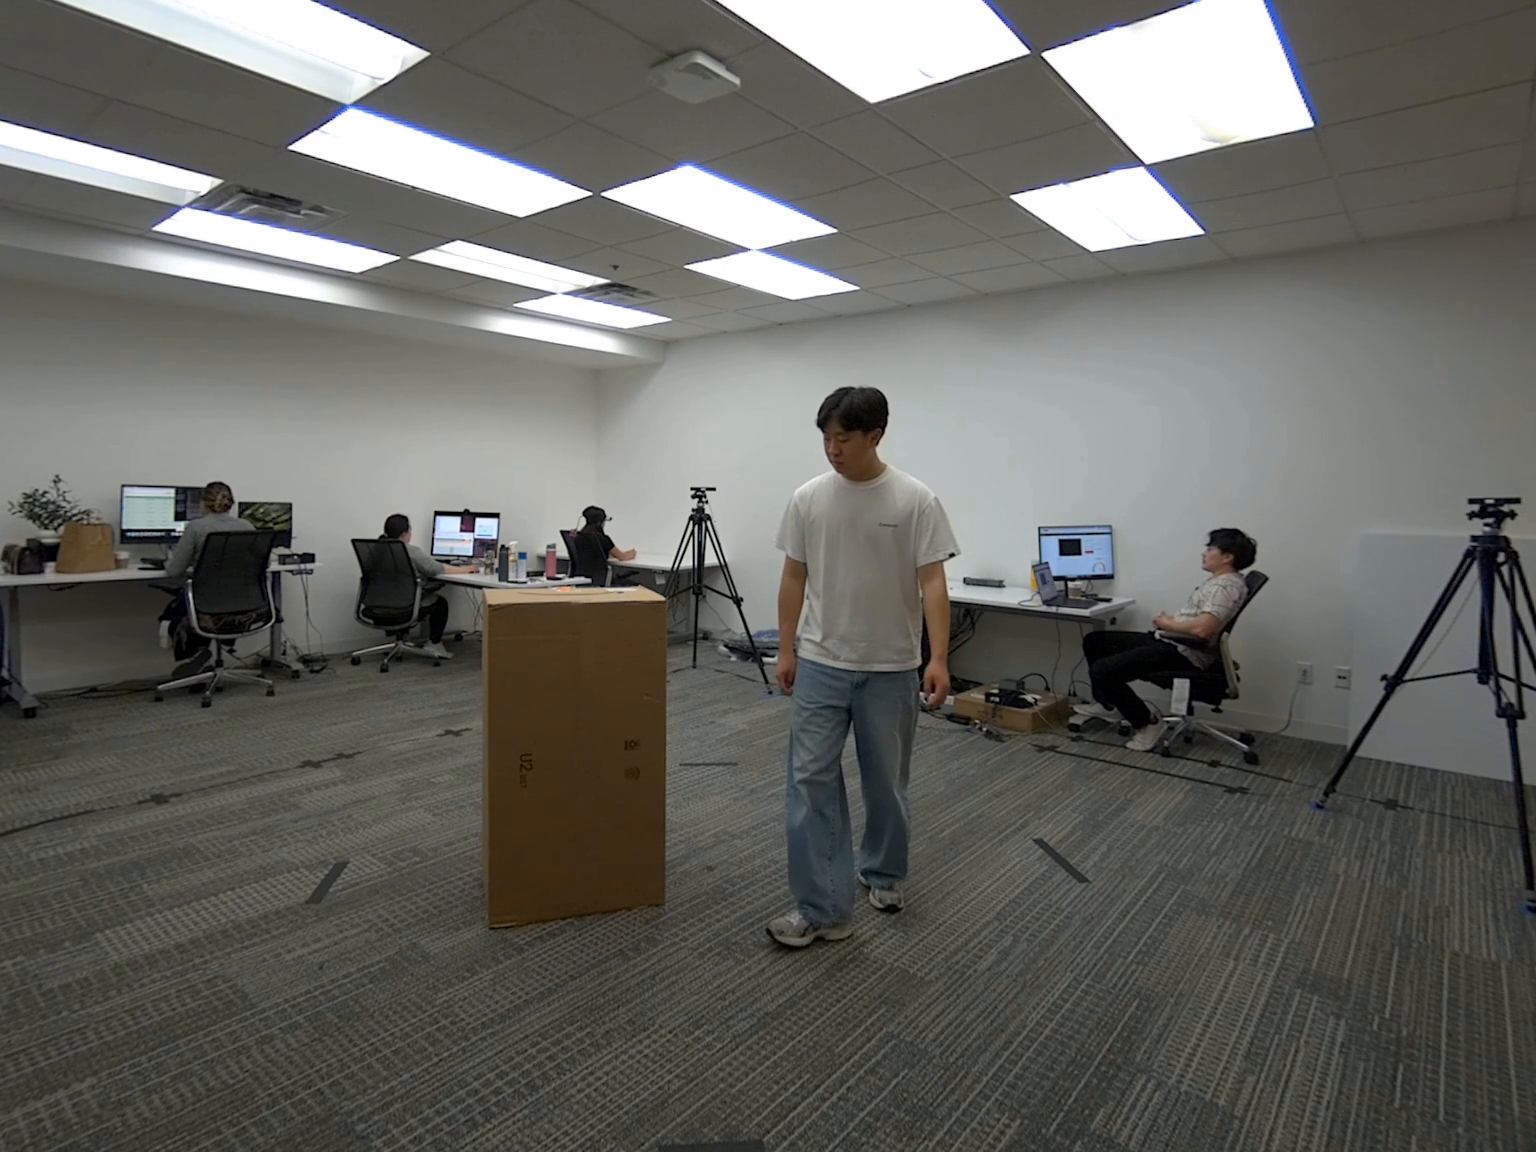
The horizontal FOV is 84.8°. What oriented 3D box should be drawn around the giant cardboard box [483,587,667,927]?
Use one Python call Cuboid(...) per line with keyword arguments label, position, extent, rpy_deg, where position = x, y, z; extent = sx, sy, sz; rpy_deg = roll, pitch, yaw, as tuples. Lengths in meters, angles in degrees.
Cuboid(label="giant cardboard box", position=(-0.688, 0.569, 2.919), extent=(0.566, 1.023, 0.436), rpy_deg=(-1, 3, -20))
